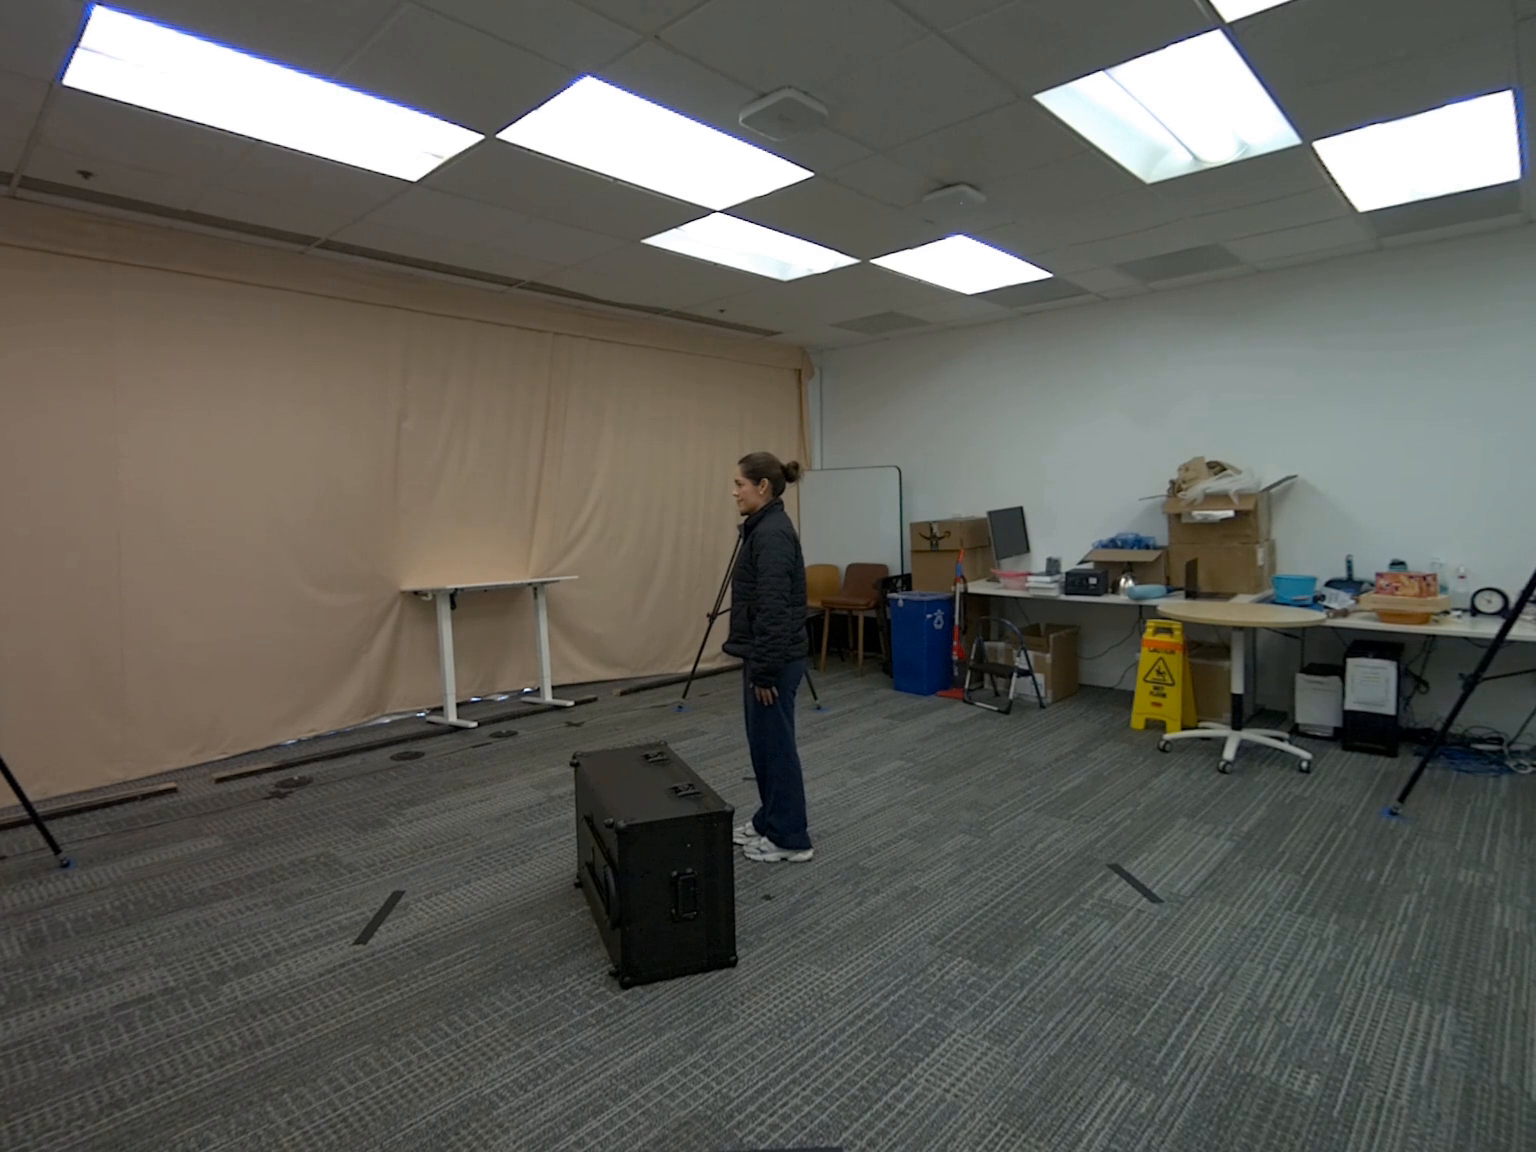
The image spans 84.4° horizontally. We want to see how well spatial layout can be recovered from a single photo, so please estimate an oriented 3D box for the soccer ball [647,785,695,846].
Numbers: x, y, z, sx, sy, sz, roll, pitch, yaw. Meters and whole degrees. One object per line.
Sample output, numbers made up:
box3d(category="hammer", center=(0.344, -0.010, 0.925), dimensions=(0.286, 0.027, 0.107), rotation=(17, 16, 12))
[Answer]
box3d(category="soccer ball", center=(-0.411, 1.009, 3.589), dimensions=(0.187, 0.187, 0.188), rotation=(-1, 4, -2))
